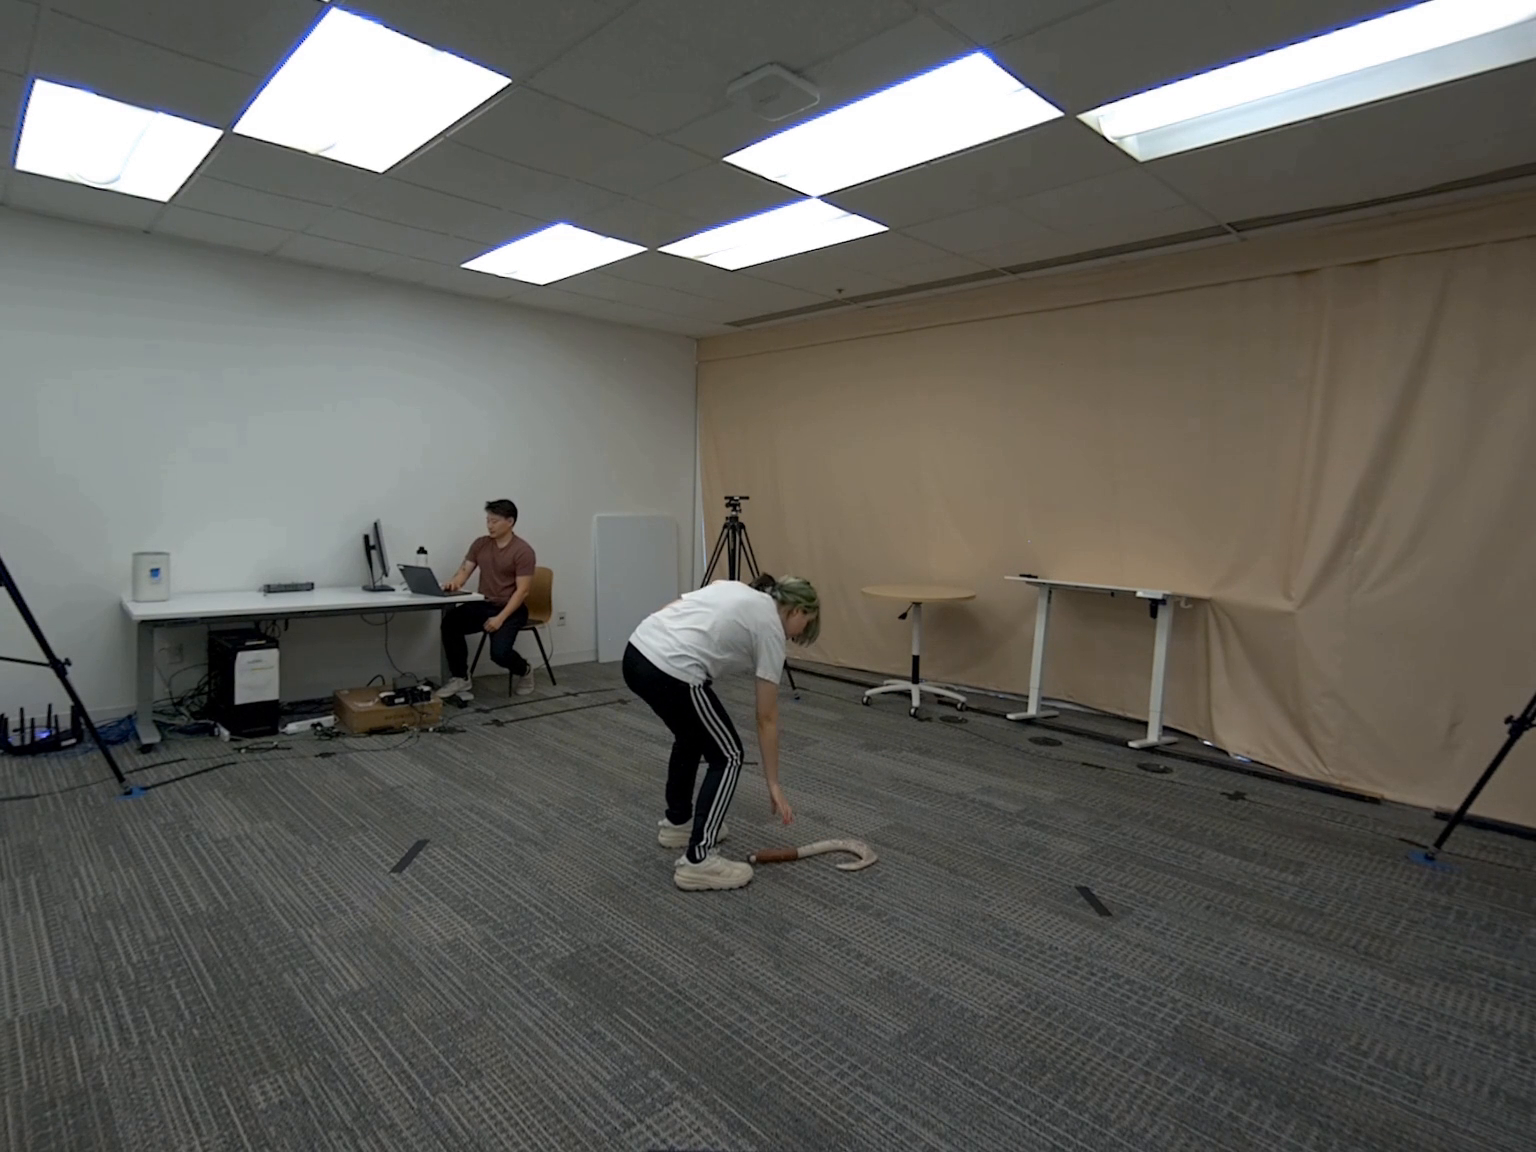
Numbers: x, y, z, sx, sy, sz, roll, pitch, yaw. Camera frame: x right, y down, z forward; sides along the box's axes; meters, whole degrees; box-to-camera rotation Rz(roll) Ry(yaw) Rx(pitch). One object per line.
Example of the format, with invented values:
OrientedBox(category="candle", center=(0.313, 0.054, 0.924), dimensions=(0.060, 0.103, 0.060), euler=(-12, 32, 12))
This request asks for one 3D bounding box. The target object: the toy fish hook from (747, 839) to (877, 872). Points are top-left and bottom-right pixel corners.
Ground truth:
OrientedBox(category="toy fish hook", center=(0.172, 1.080, 3.221), dimensions=(0.499, 0.048, 0.228), euler=(0, 5, -18))
